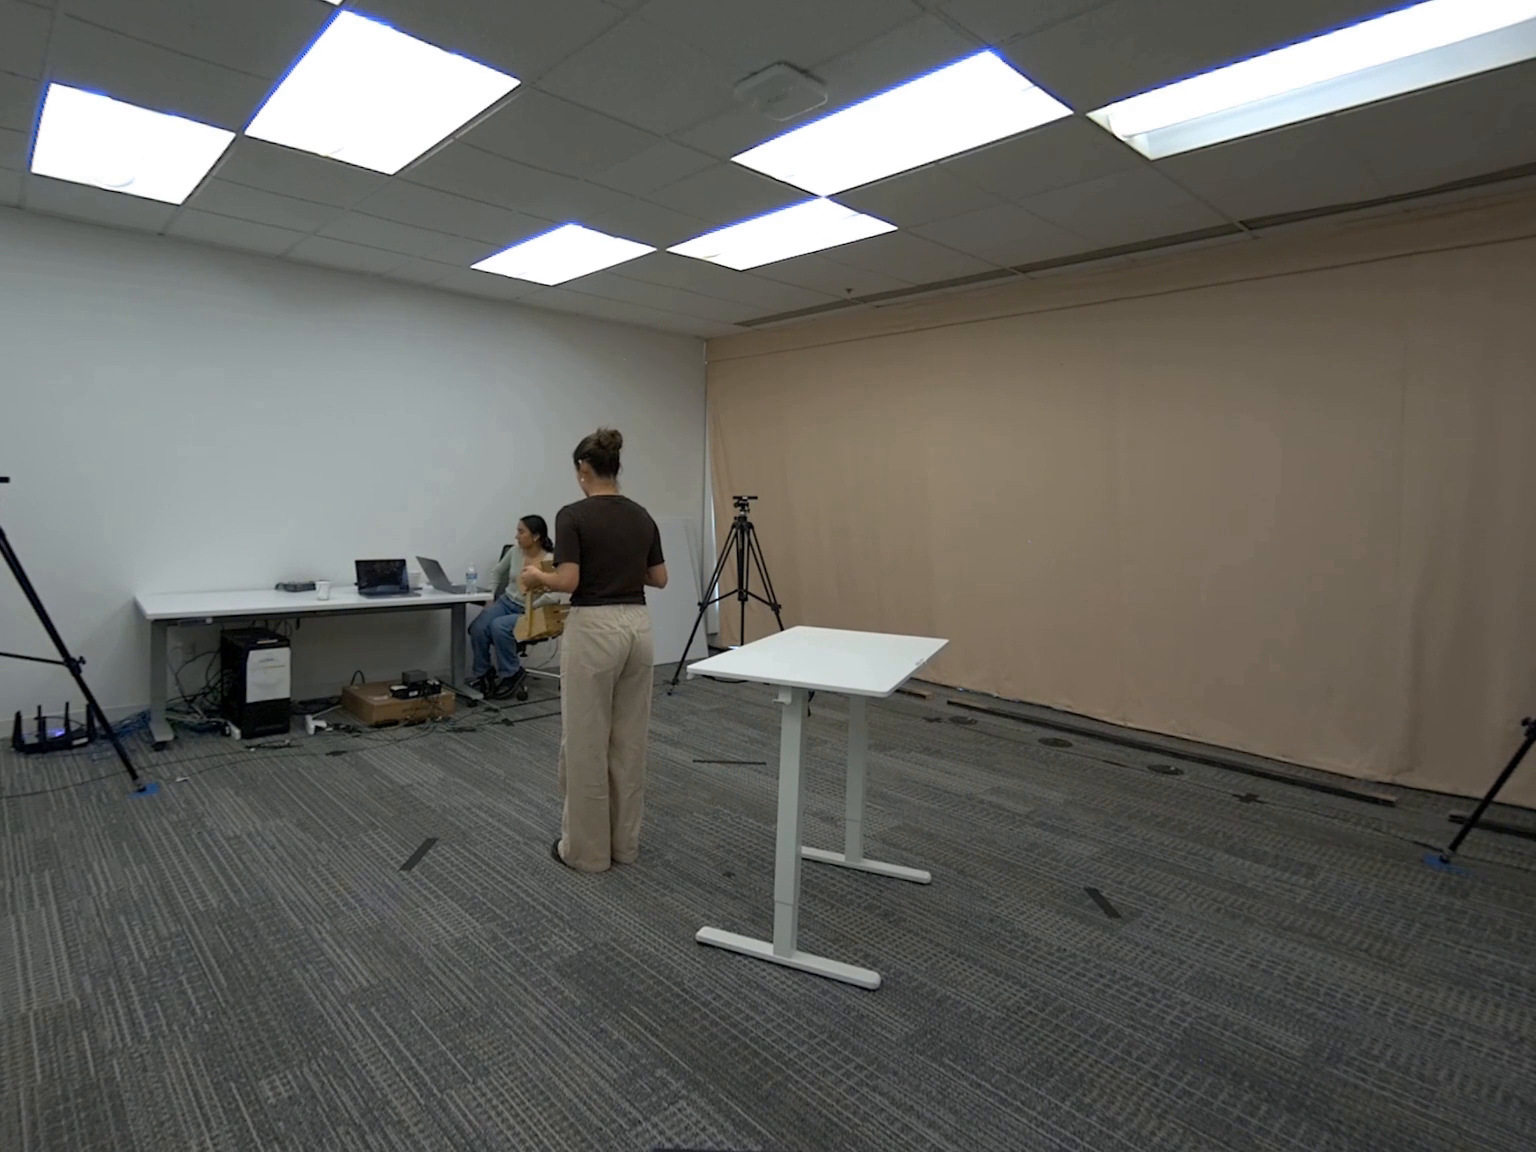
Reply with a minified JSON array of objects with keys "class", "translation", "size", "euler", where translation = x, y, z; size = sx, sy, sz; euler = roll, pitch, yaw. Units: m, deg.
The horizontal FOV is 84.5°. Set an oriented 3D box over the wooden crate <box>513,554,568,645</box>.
[{"class":"wooden crate","translation":[-0.842,0.091,3.374],"size":[0.306,0.275,0.317],"euler":[-21,-9,43]}]
